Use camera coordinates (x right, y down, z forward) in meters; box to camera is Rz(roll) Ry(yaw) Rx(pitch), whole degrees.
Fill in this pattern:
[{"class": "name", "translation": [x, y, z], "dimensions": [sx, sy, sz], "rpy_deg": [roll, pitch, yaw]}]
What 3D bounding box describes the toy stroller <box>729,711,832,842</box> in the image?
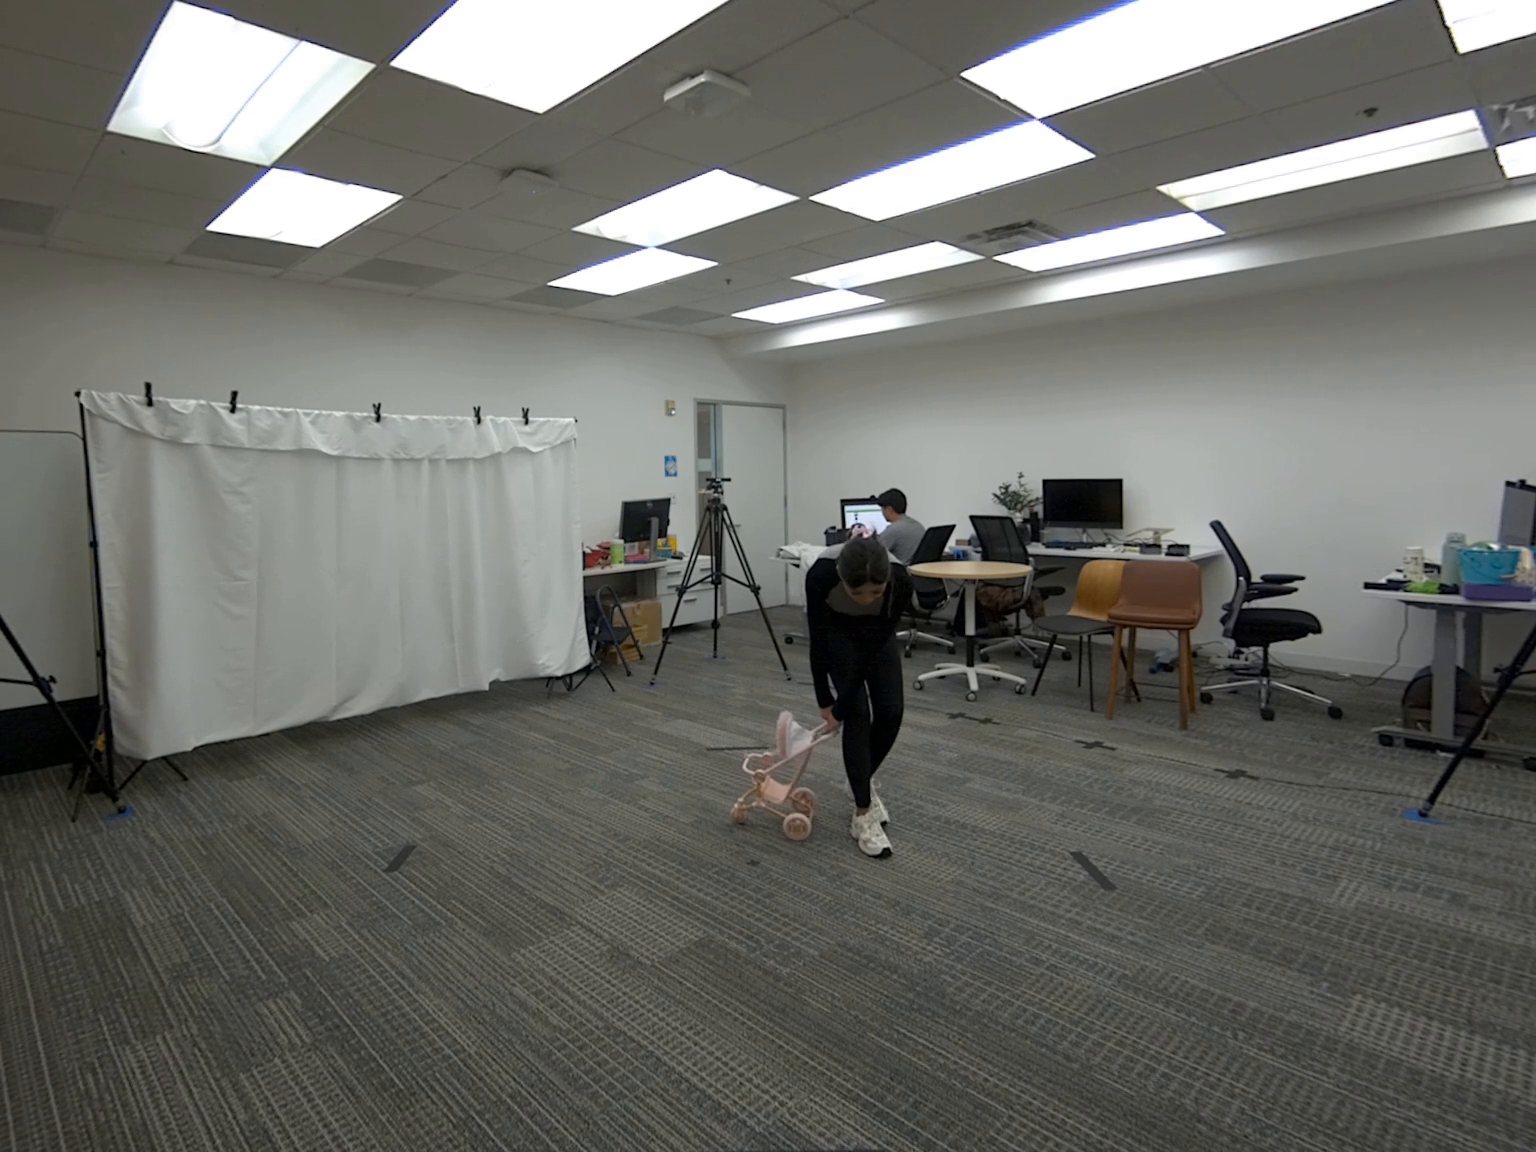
[{"class": "toy stroller", "translation": [0.059, 0.779, 3.411], "dimensions": [0.347, 0.531, 0.279], "rpy_deg": [15, 9, 13]}]
